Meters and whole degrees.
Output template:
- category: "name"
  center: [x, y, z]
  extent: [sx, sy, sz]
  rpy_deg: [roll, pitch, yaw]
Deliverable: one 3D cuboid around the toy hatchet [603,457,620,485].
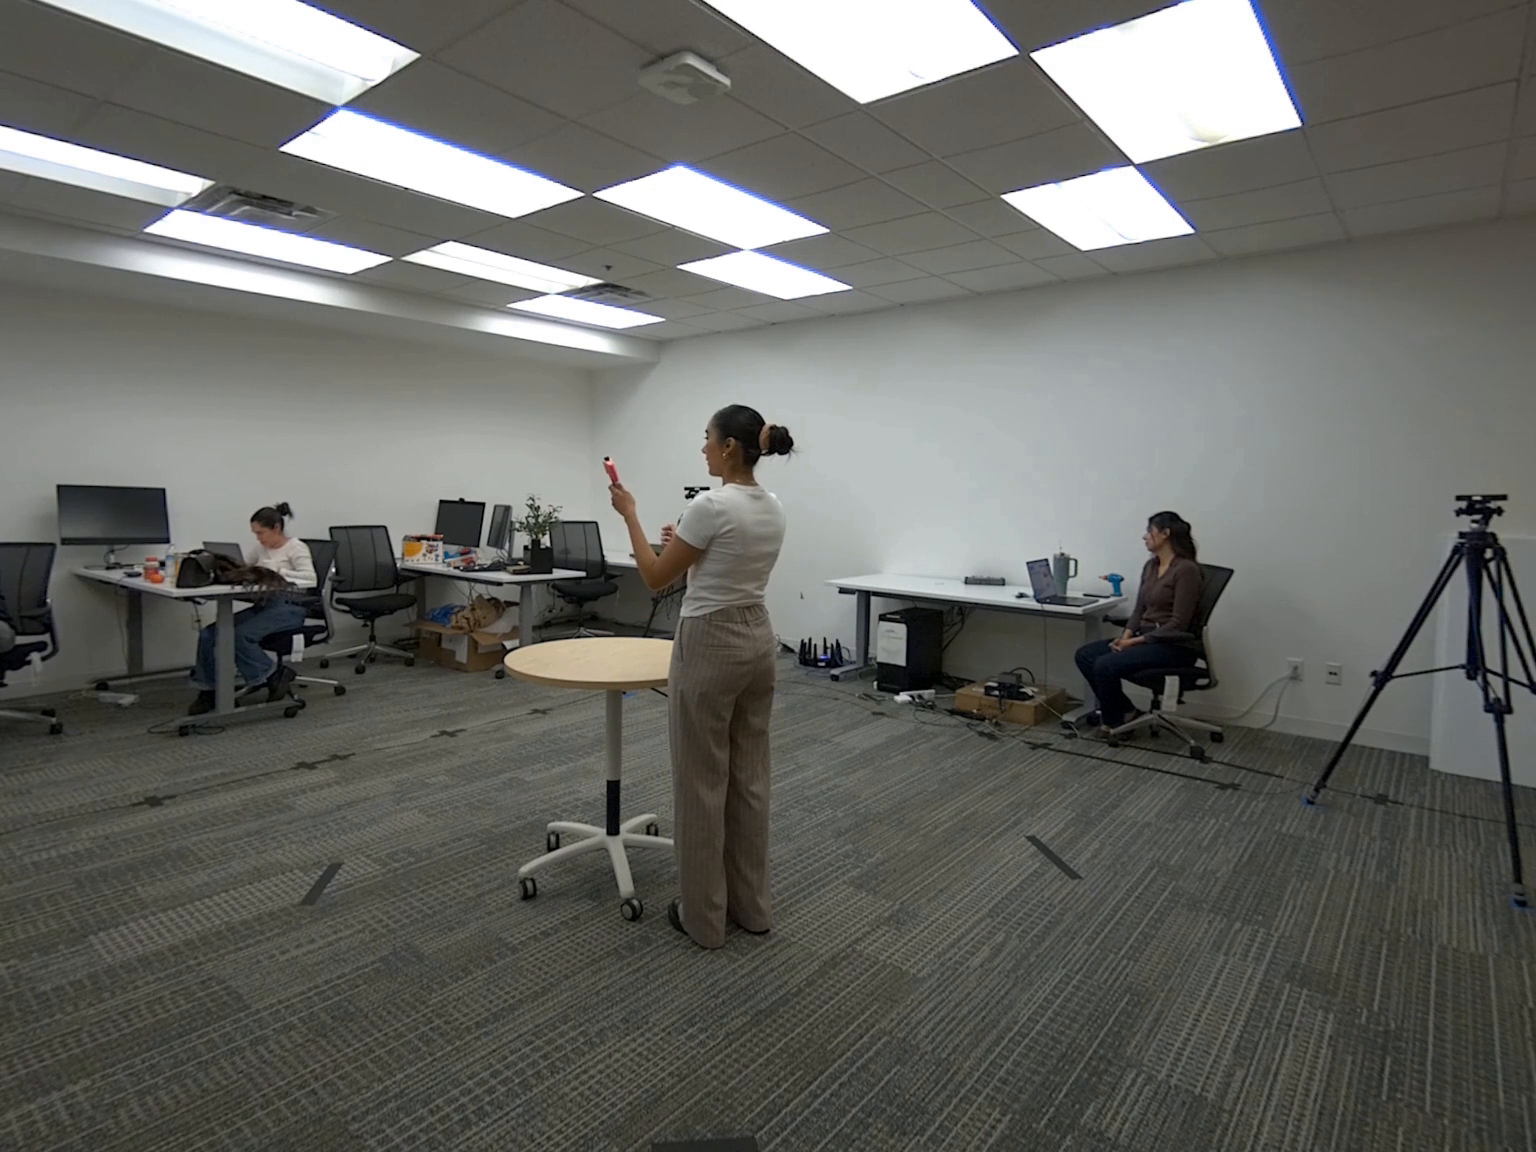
- category: "toy hatchet"
  center: [-0.478, -0.258, 2.714]
  extent: [0.029, 0.272, 0.131]
  rpy_deg: [-20, -4, -8]
